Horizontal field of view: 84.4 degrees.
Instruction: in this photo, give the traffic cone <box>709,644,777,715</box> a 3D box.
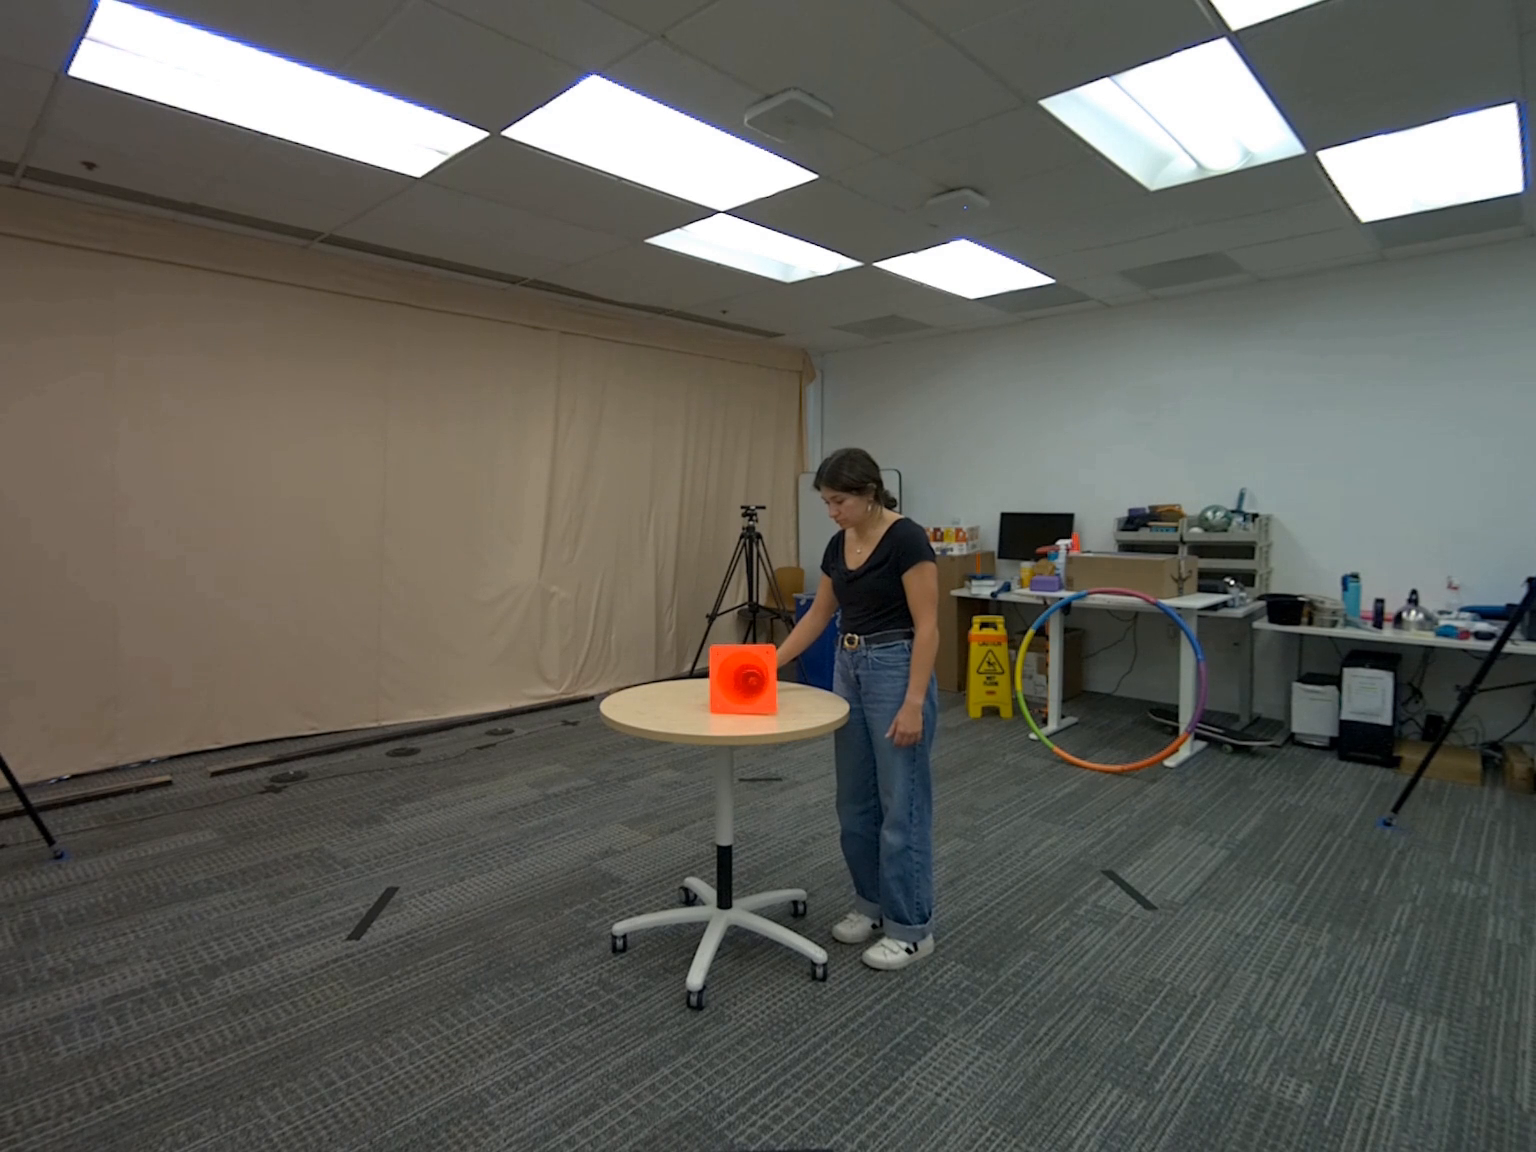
[{"bbox_3d":[-0.056,0.325,2.654,0.205,0.204,0.382,-5,-6,-1],"label":"traffic cone"}]
